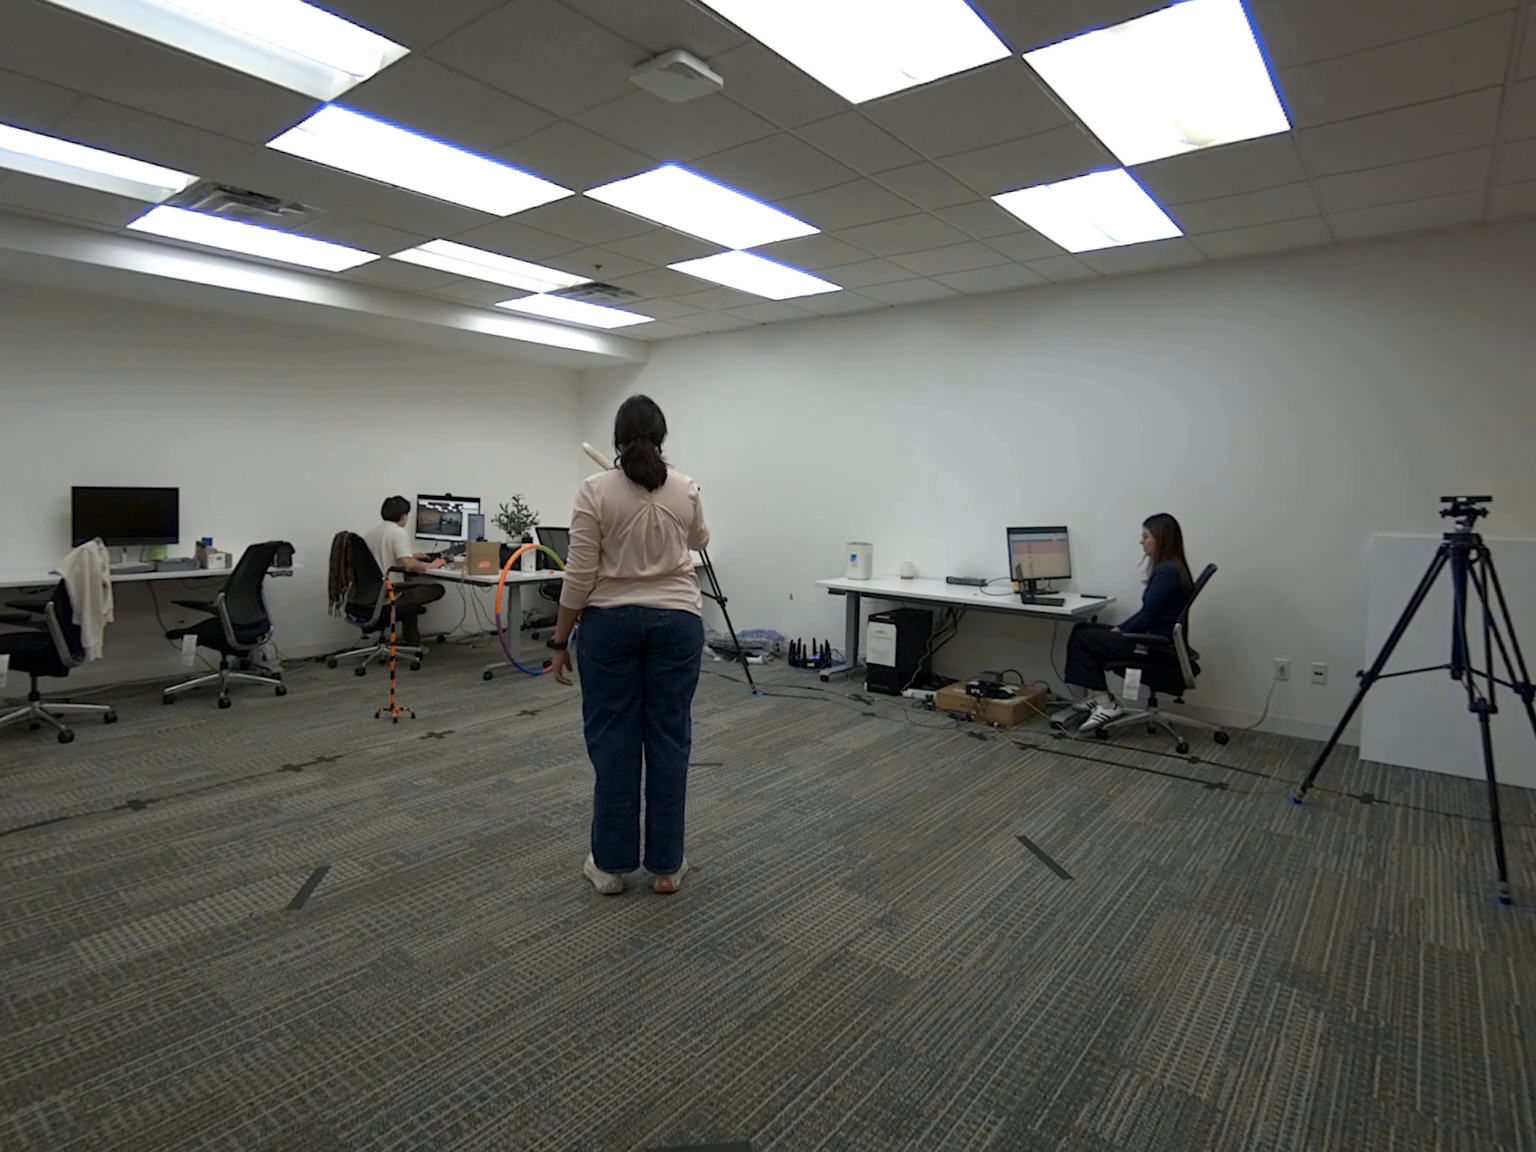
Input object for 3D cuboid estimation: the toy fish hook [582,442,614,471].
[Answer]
[{"bbox_3d":[-0.592,-0.393,3.575,0.515,0.048,0.221,43,5,11],"label":"toy fish hook"}]
